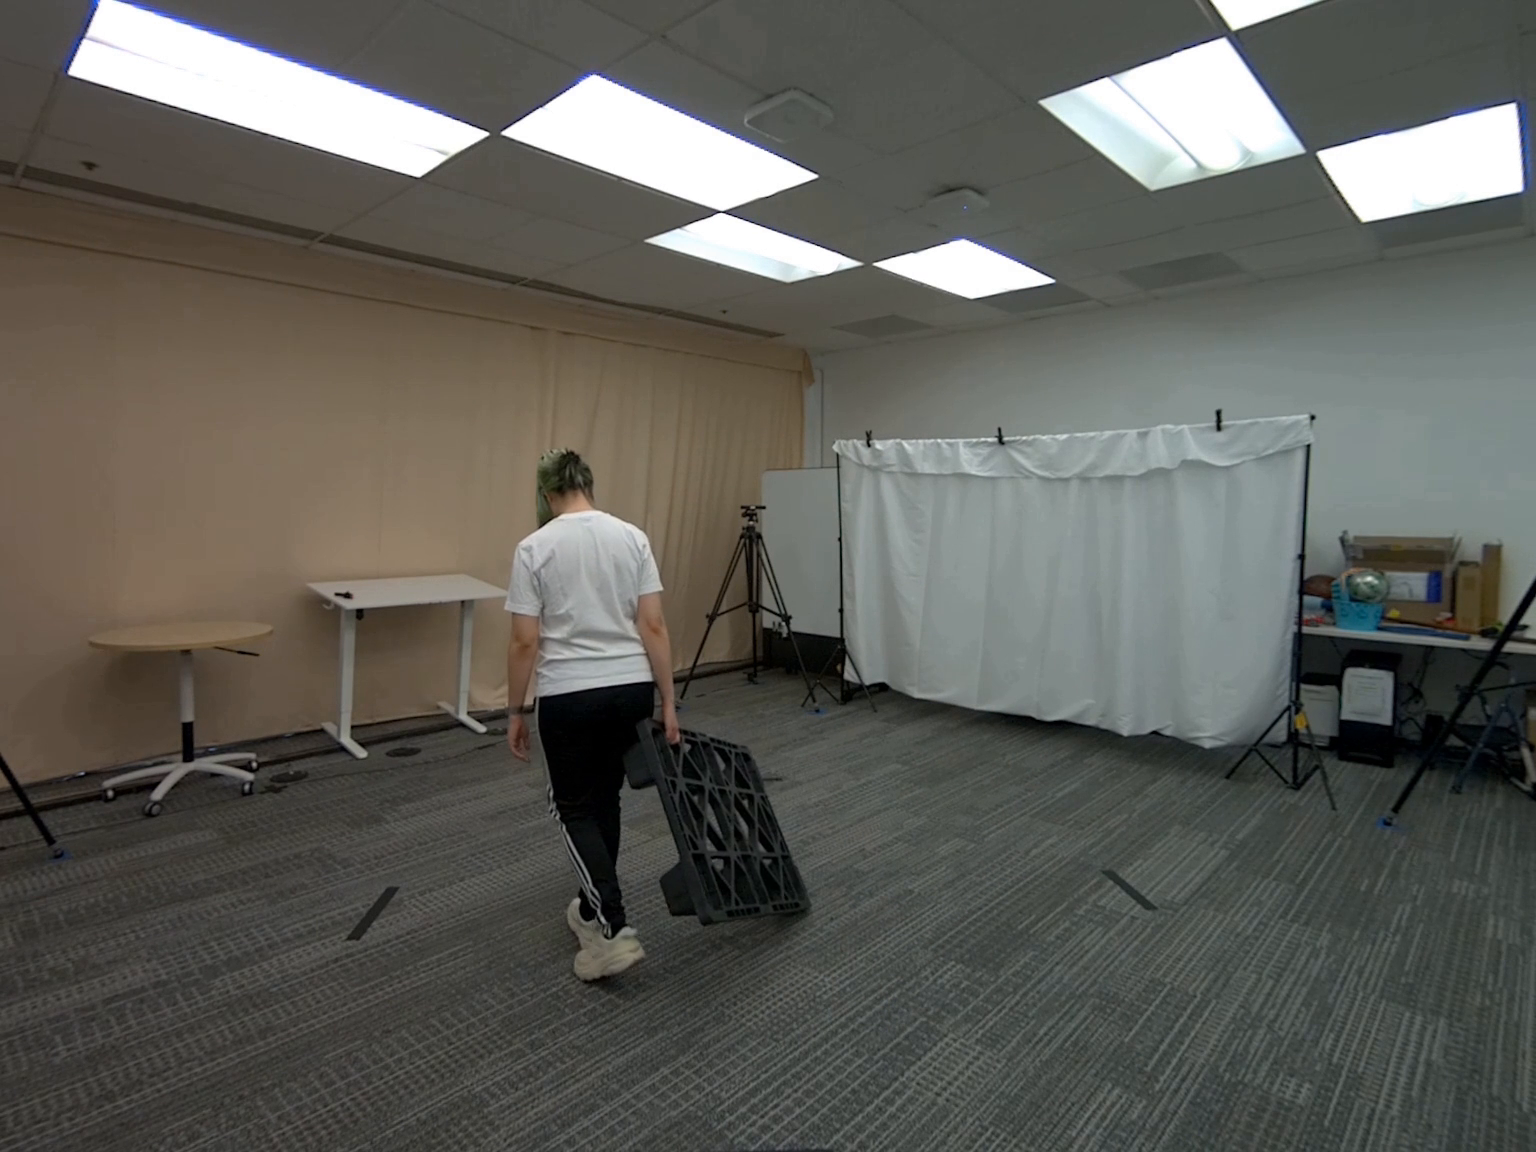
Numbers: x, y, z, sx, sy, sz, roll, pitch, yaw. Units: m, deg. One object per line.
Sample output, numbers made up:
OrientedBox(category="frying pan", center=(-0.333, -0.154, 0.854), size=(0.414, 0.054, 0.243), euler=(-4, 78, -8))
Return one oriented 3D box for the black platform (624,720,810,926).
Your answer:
OrientedBox(category="black platform", center=(-0.155, 0.817, 2.712), size=(0.144, 0.620, 0.780), euler=(-31, -27, 12))
